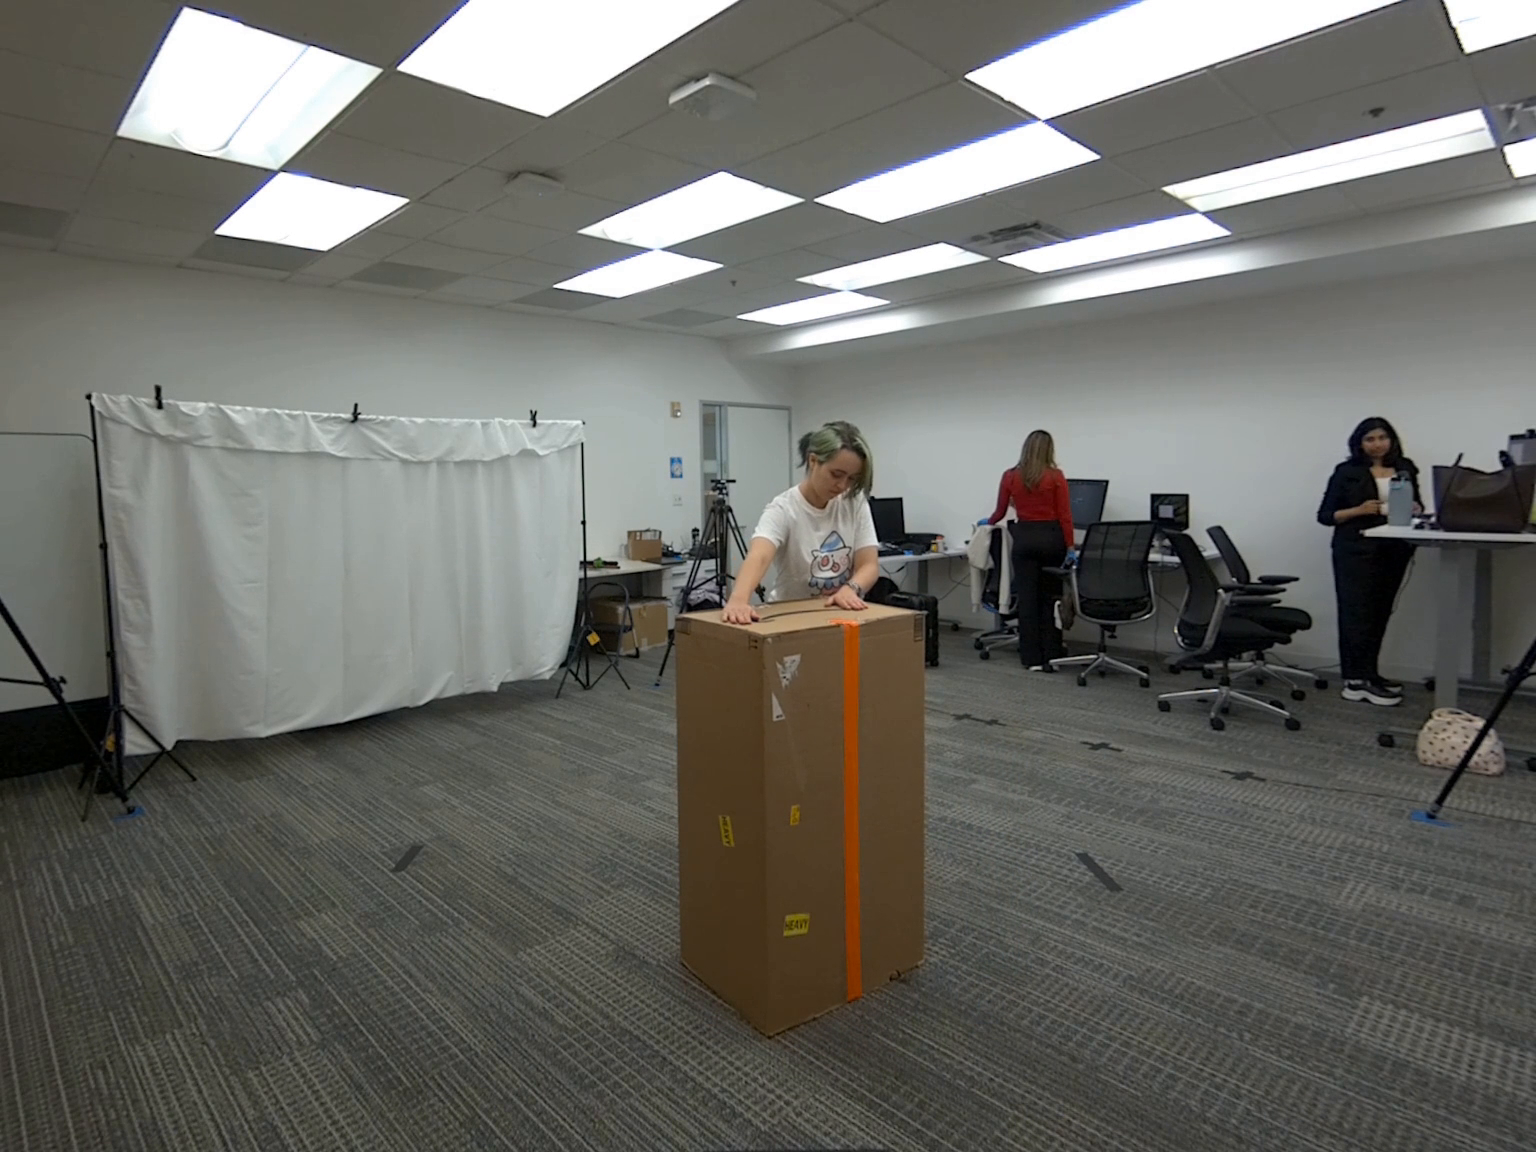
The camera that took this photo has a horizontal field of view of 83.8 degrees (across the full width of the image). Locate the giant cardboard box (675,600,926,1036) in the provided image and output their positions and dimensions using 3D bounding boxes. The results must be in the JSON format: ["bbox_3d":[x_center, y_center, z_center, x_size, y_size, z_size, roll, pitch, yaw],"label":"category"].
[{"bbox_3d":[0.095,0.620,2.435,0.569,1.024,0.460,-4,4,-36],"label":"giant cardboard box"}]
